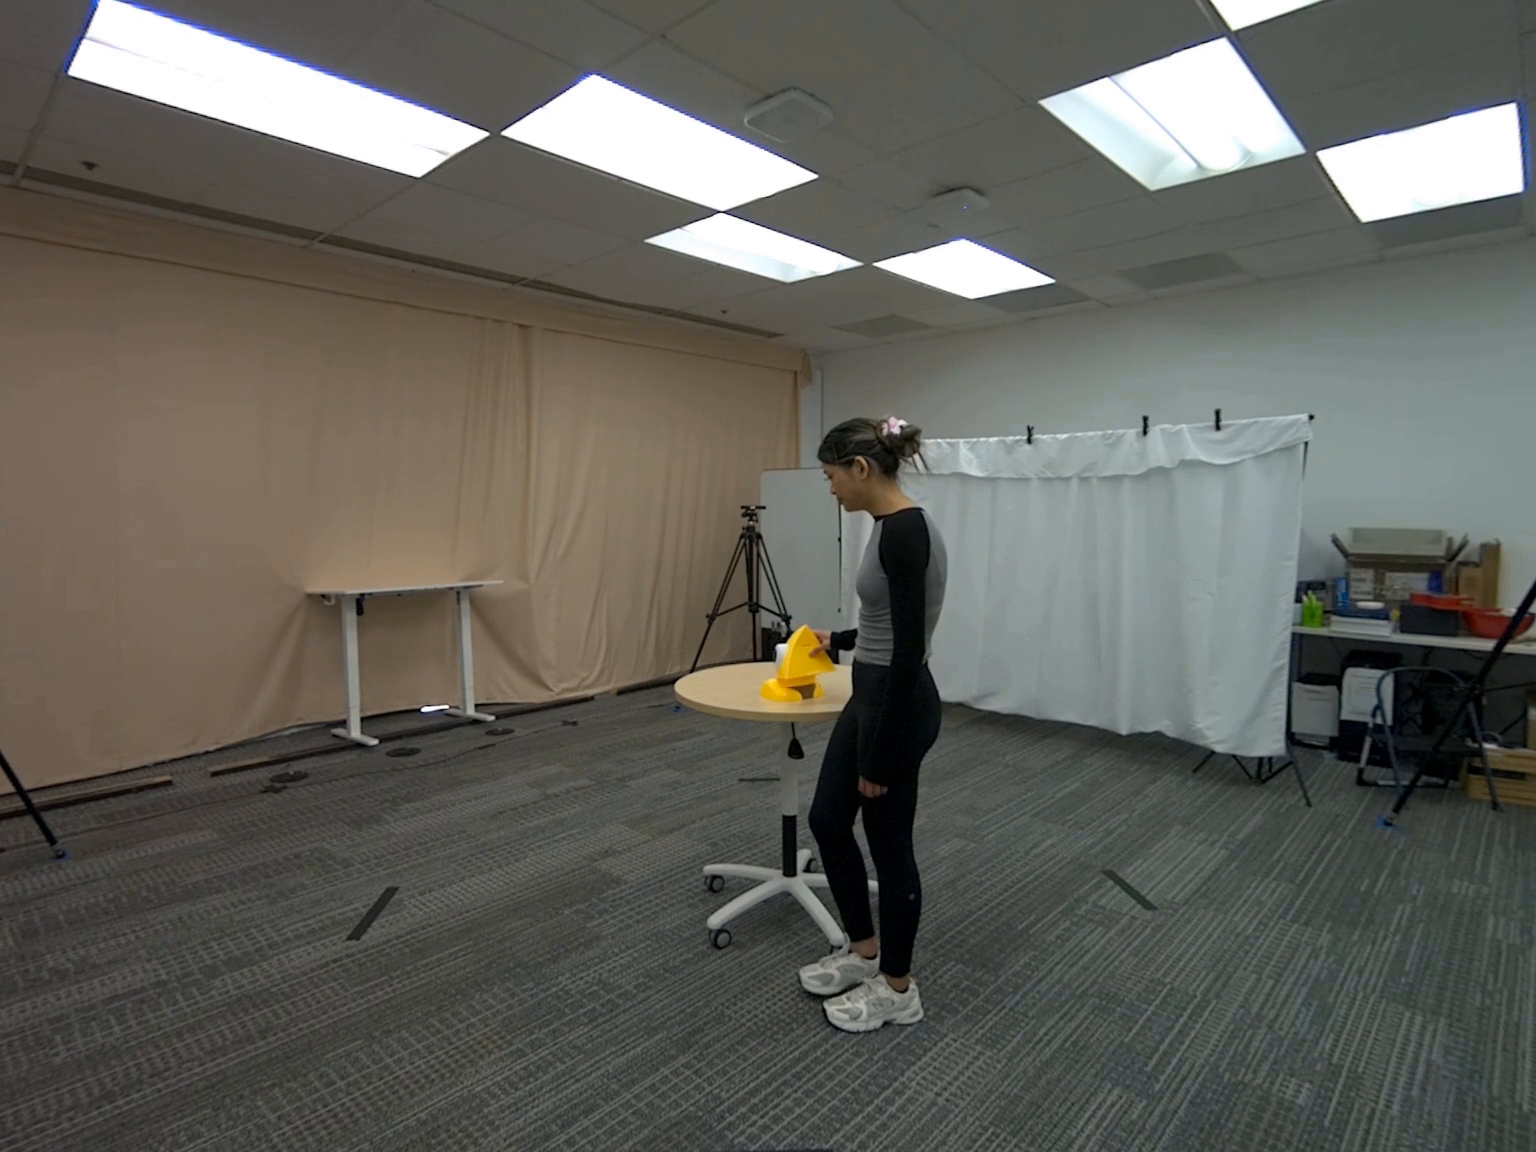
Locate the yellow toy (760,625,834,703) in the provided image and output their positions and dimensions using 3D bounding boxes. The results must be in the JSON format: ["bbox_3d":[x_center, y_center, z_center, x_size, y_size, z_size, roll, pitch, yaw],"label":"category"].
[{"bbox_3d":[0.084,0.265,2.665,0.199,0.230,0.199,-3,4,-35],"label":"yellow toy"}]
